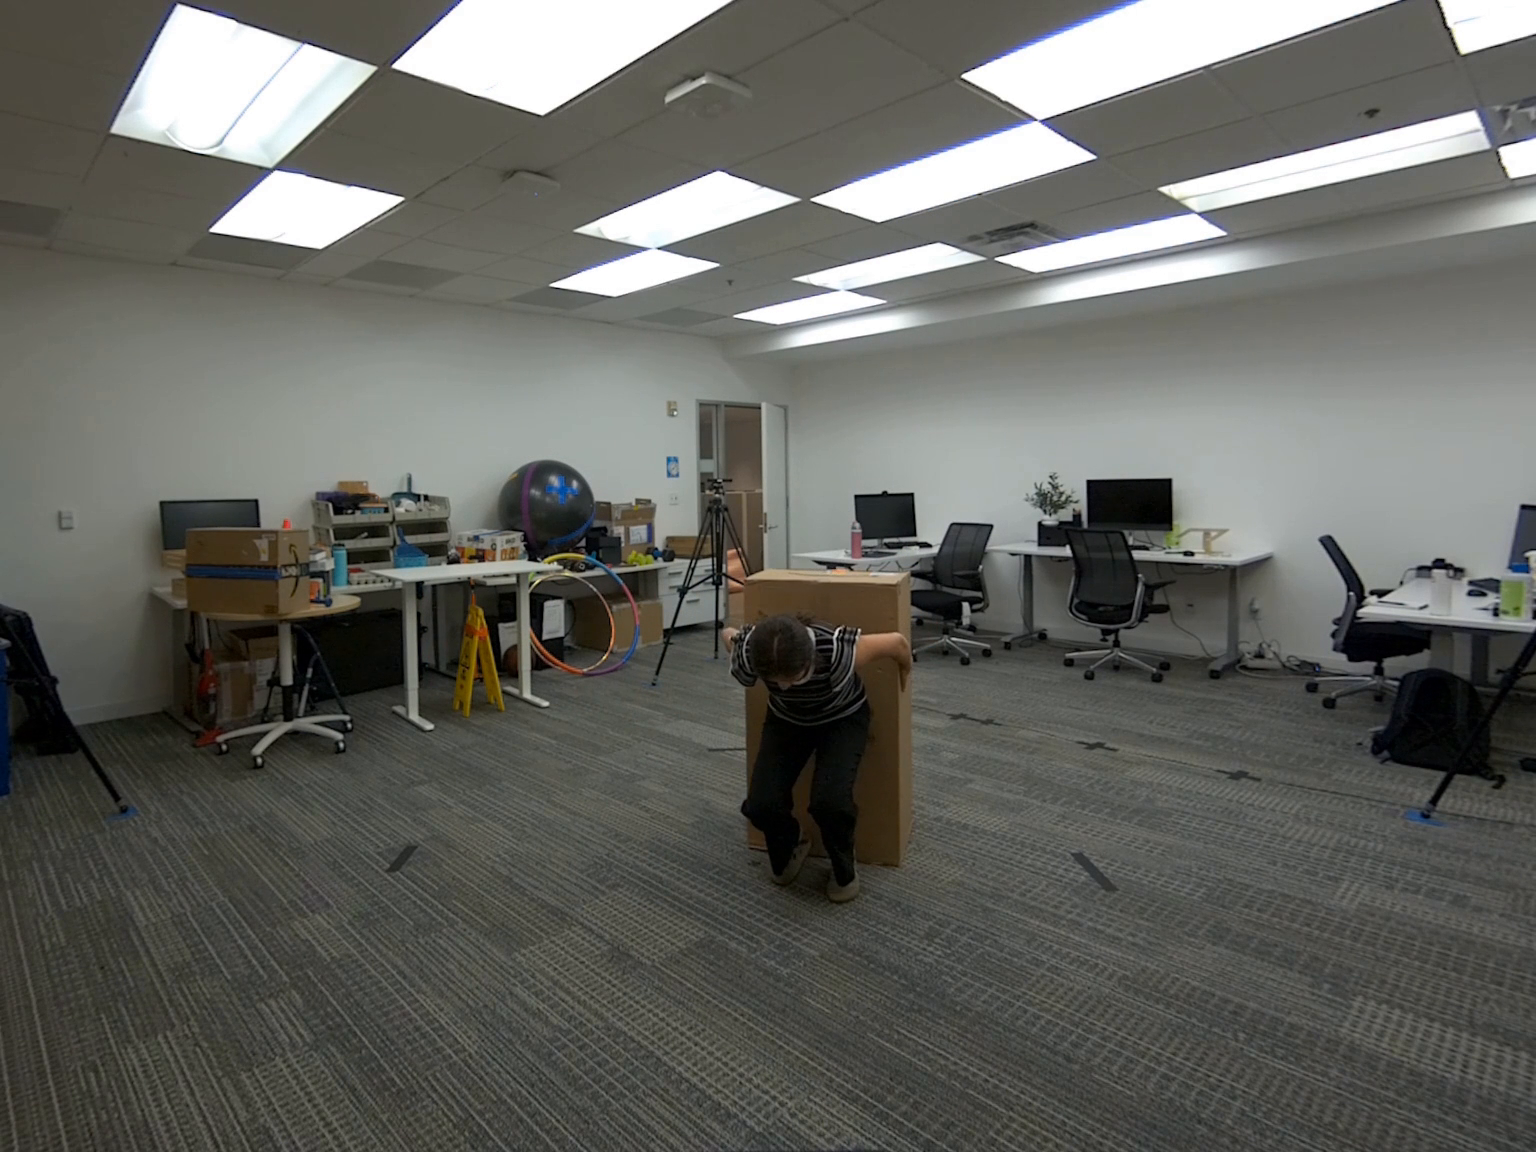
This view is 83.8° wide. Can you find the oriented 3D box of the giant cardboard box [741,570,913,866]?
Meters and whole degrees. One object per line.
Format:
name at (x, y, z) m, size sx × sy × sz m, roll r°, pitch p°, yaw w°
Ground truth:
giant cardboard box at (0.246, 0.504, 3.321) m, size 0.587 × 1.023 × 0.420 m, roll 0°, pitch 3°, yaw 17°
